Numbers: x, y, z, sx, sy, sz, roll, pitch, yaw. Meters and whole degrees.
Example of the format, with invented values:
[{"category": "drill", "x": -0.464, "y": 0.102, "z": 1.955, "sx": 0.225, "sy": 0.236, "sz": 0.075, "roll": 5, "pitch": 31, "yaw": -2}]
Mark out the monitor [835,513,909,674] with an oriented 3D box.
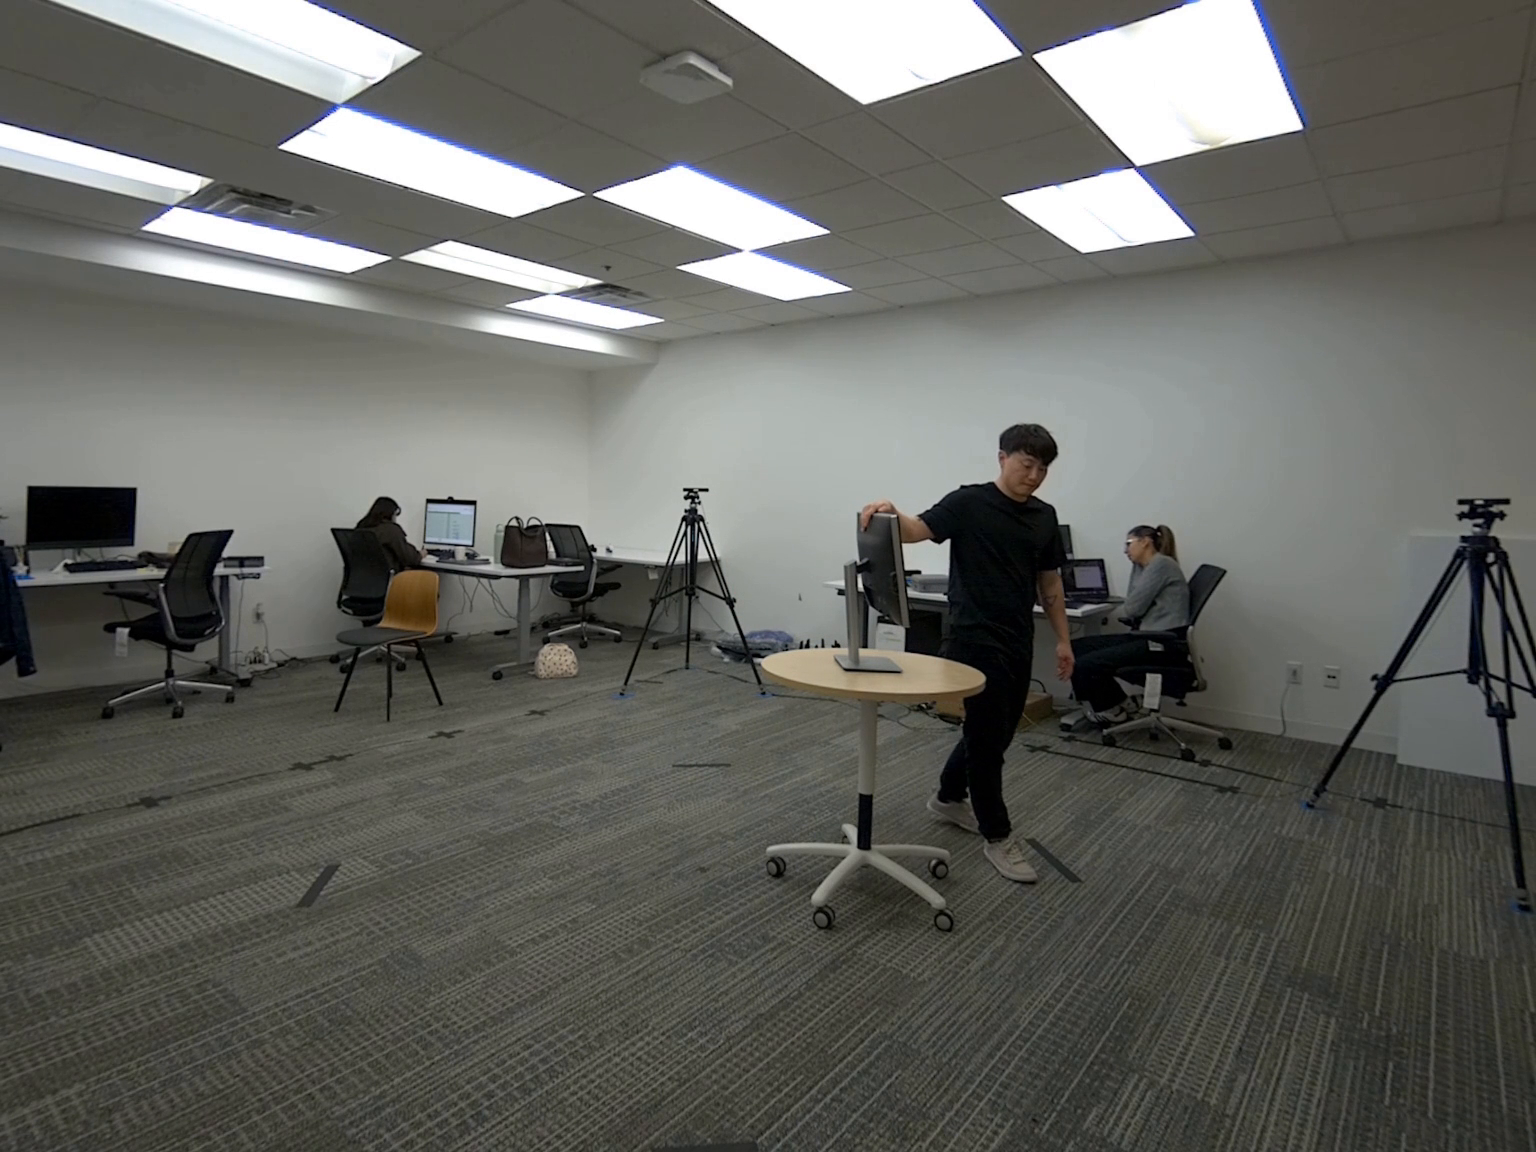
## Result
[{"category": "monitor", "x": 0.348, "y": 0.051, "z": 2.996, "sx": 0.186, "sy": 0.521, "sz": 0.544, "roll": 3, "pitch": 4, "yaw": -8}]
